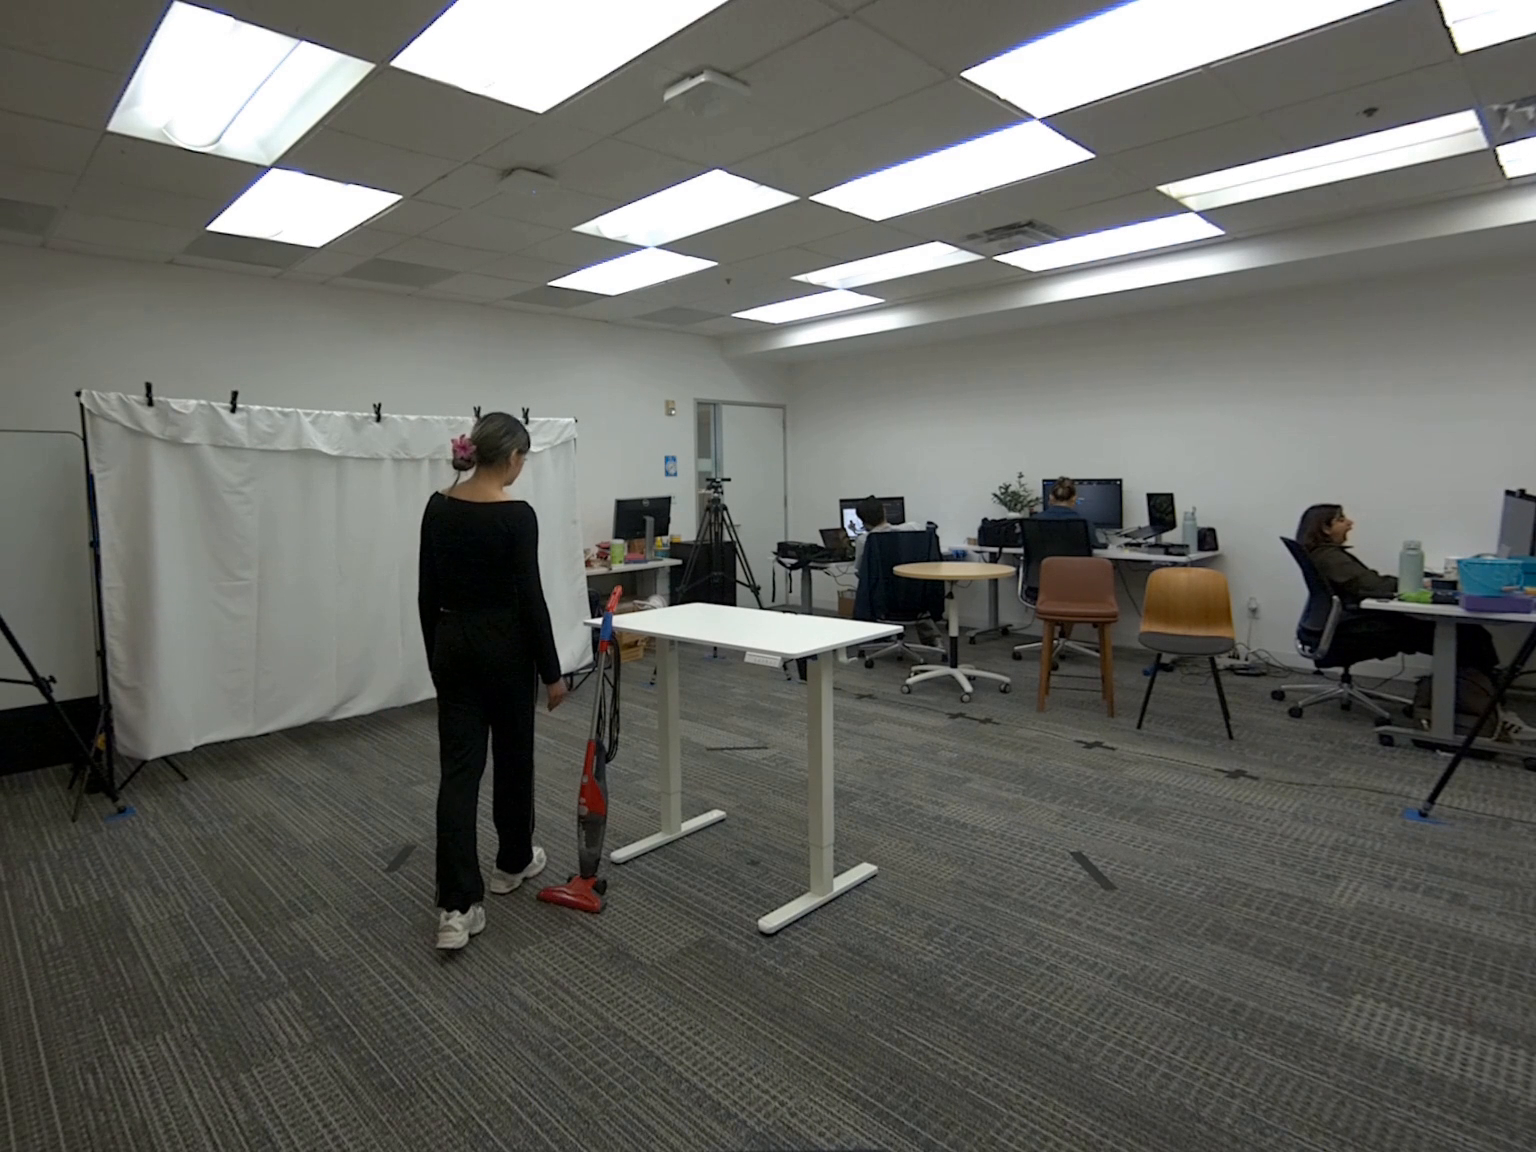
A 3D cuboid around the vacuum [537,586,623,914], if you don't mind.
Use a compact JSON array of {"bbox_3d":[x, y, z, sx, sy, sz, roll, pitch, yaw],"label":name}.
[{"bbox_3d":[-0.589,0.566,2.980,0.259,1.060,0.139,-2,-14,30],"label":"vacuum"}]
